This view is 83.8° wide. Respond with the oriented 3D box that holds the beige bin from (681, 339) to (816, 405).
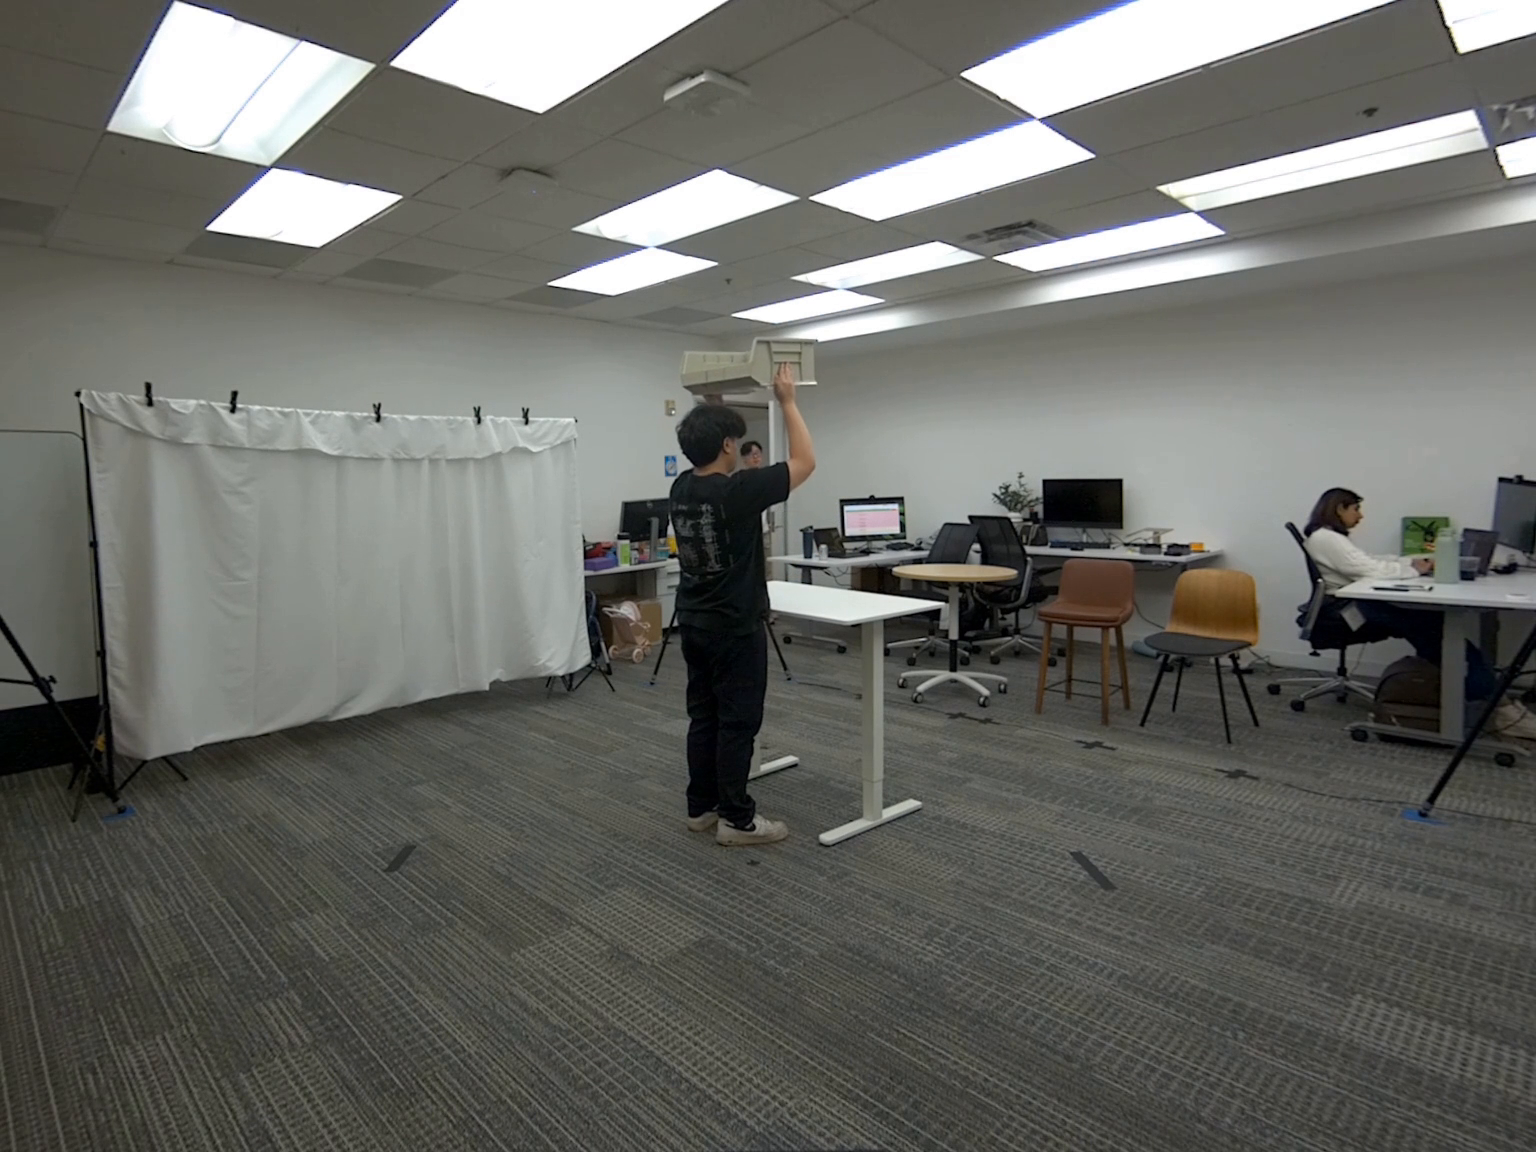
[{"bbox_3d":[-0.076,-0.831,3.414,0.368,0.188,0.435,-11,11,-43],"label":"beige bin"}]
